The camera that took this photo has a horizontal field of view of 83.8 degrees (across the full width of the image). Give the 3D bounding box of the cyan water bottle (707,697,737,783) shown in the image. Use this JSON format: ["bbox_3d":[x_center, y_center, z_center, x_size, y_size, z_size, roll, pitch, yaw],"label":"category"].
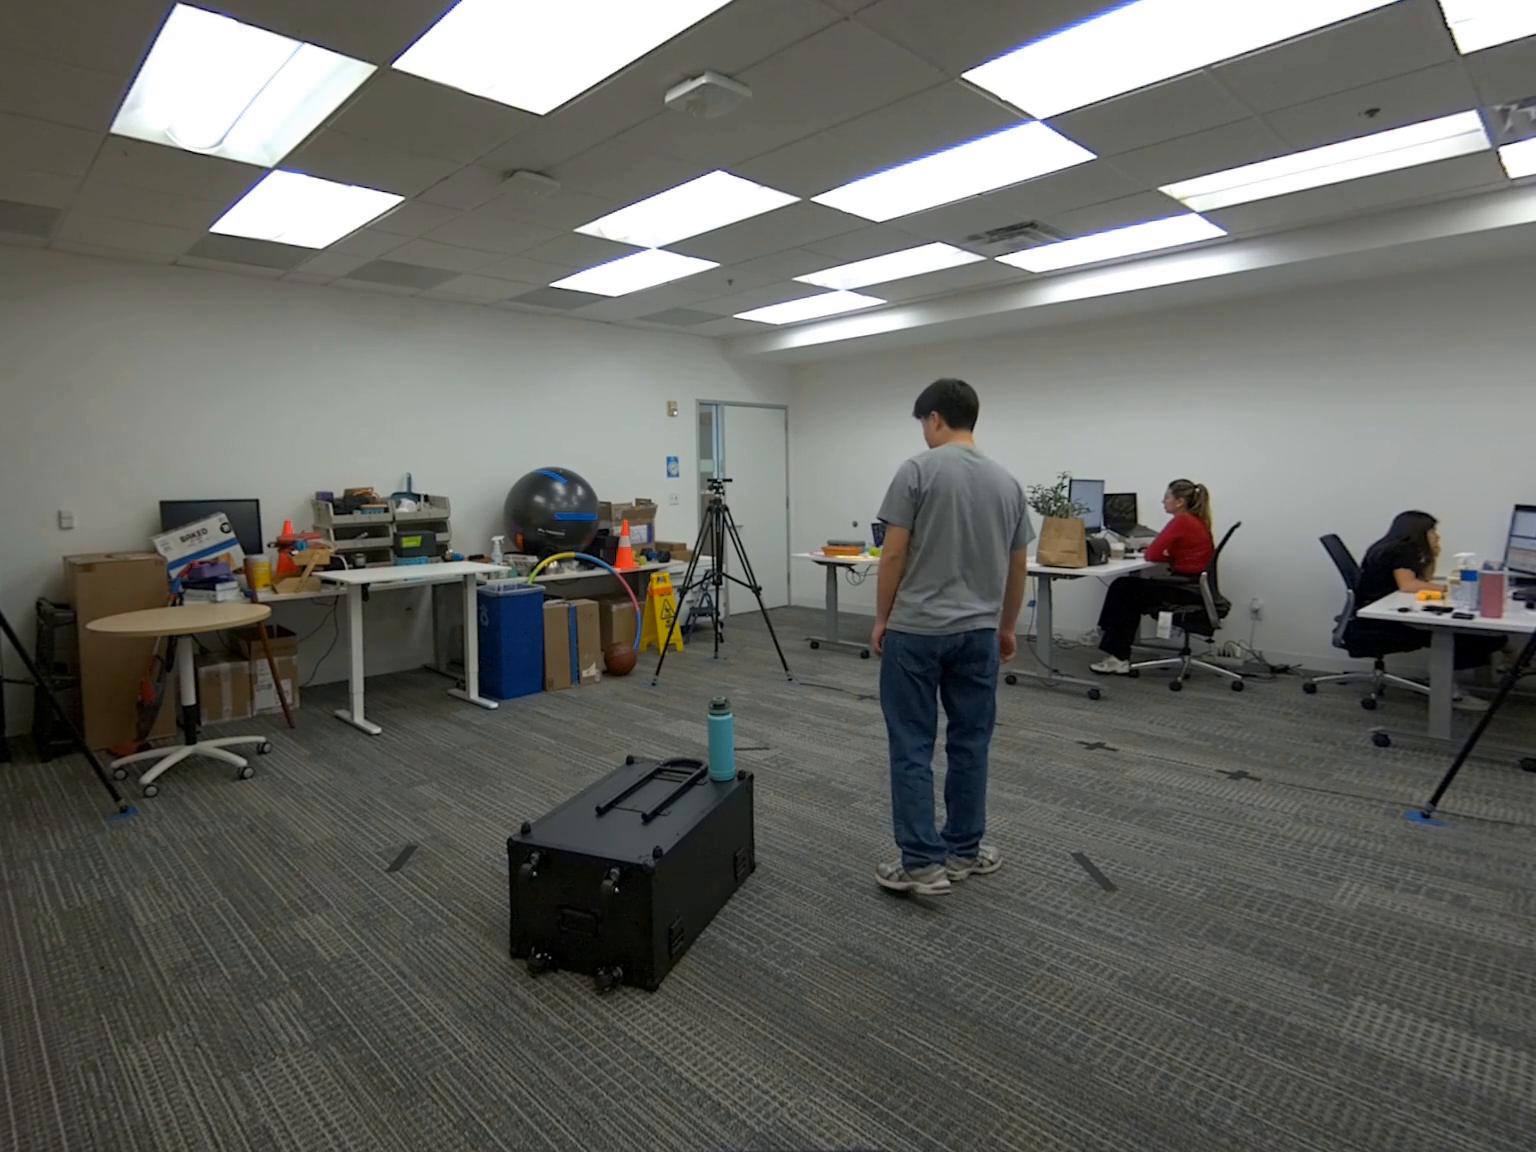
[{"bbox_3d":[-0.158,0.560,2.980,0.092,0.282,0.093,-3,4,-1],"label":"cyan water bottle"}]
